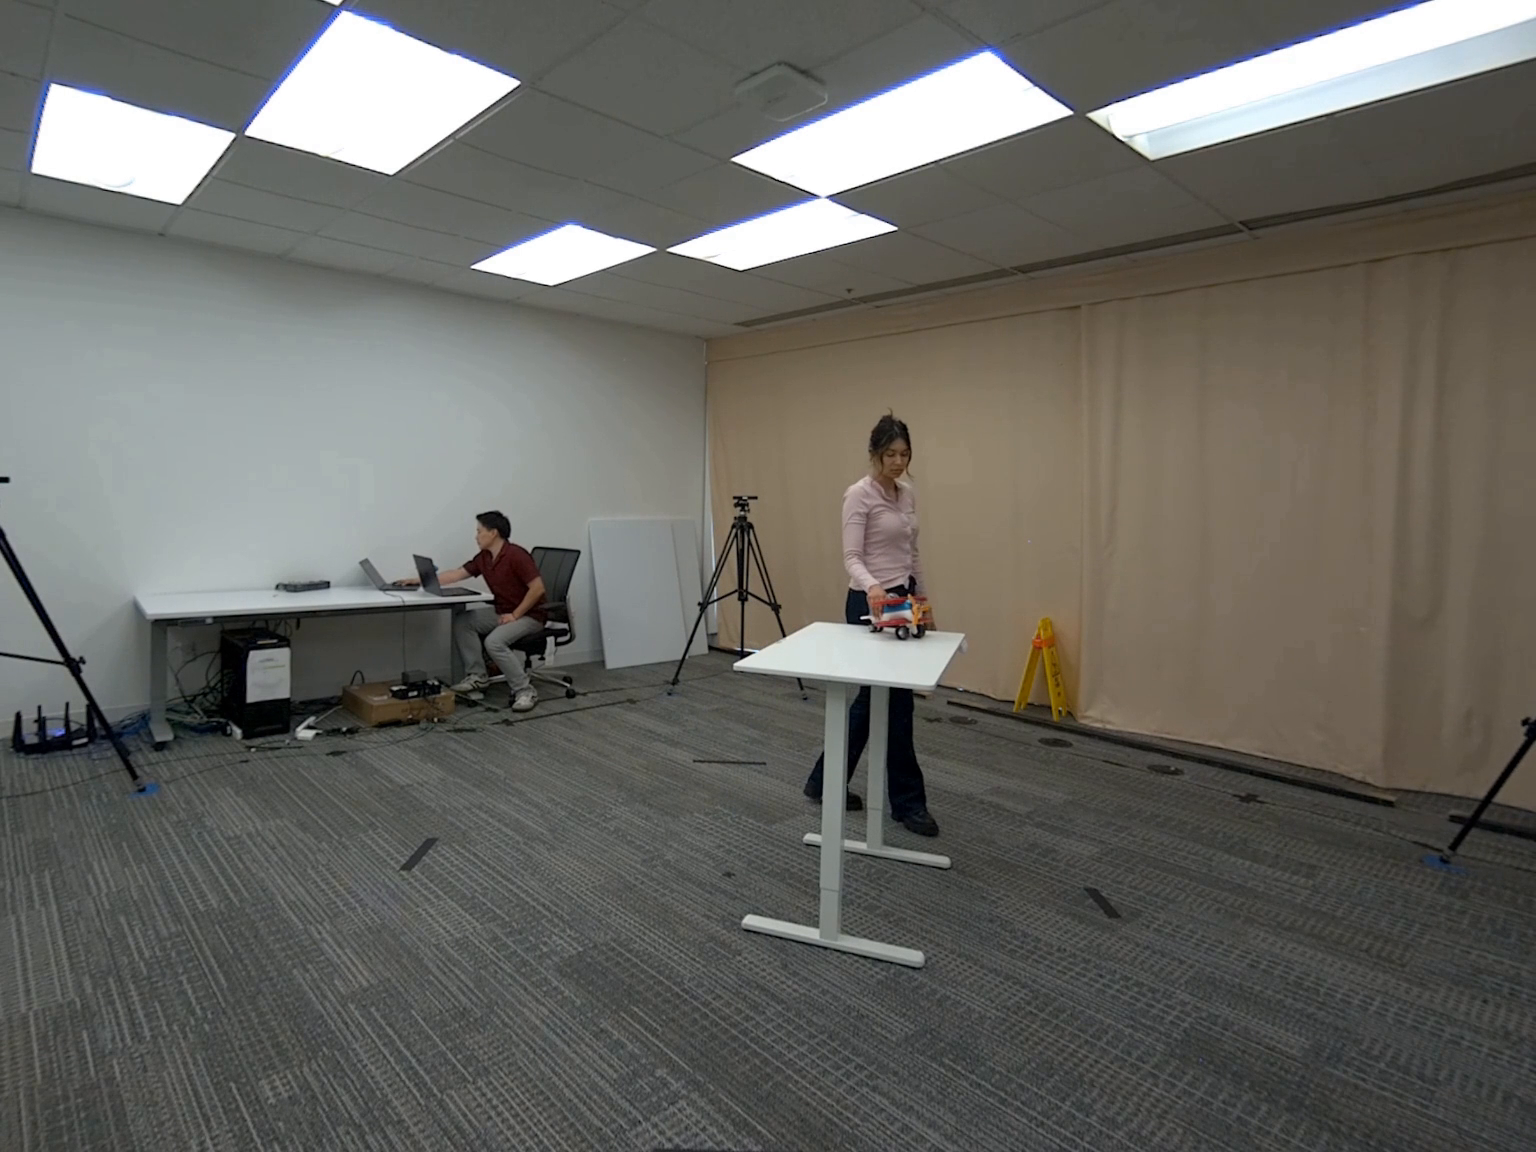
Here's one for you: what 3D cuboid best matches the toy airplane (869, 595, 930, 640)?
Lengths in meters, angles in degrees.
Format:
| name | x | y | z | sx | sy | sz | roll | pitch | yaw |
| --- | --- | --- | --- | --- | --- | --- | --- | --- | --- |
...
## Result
| name | x | y | z | sx | sy | sz | roll | pitch | yaw |
| --- | --- | --- | --- | --- | --- | --- | --- | --- | --- |
| toy airplane | 0.461 | 0.152 | 3.182 | 0.264 | 0.156 | 0.247 | 5 | 5 | 26 |
